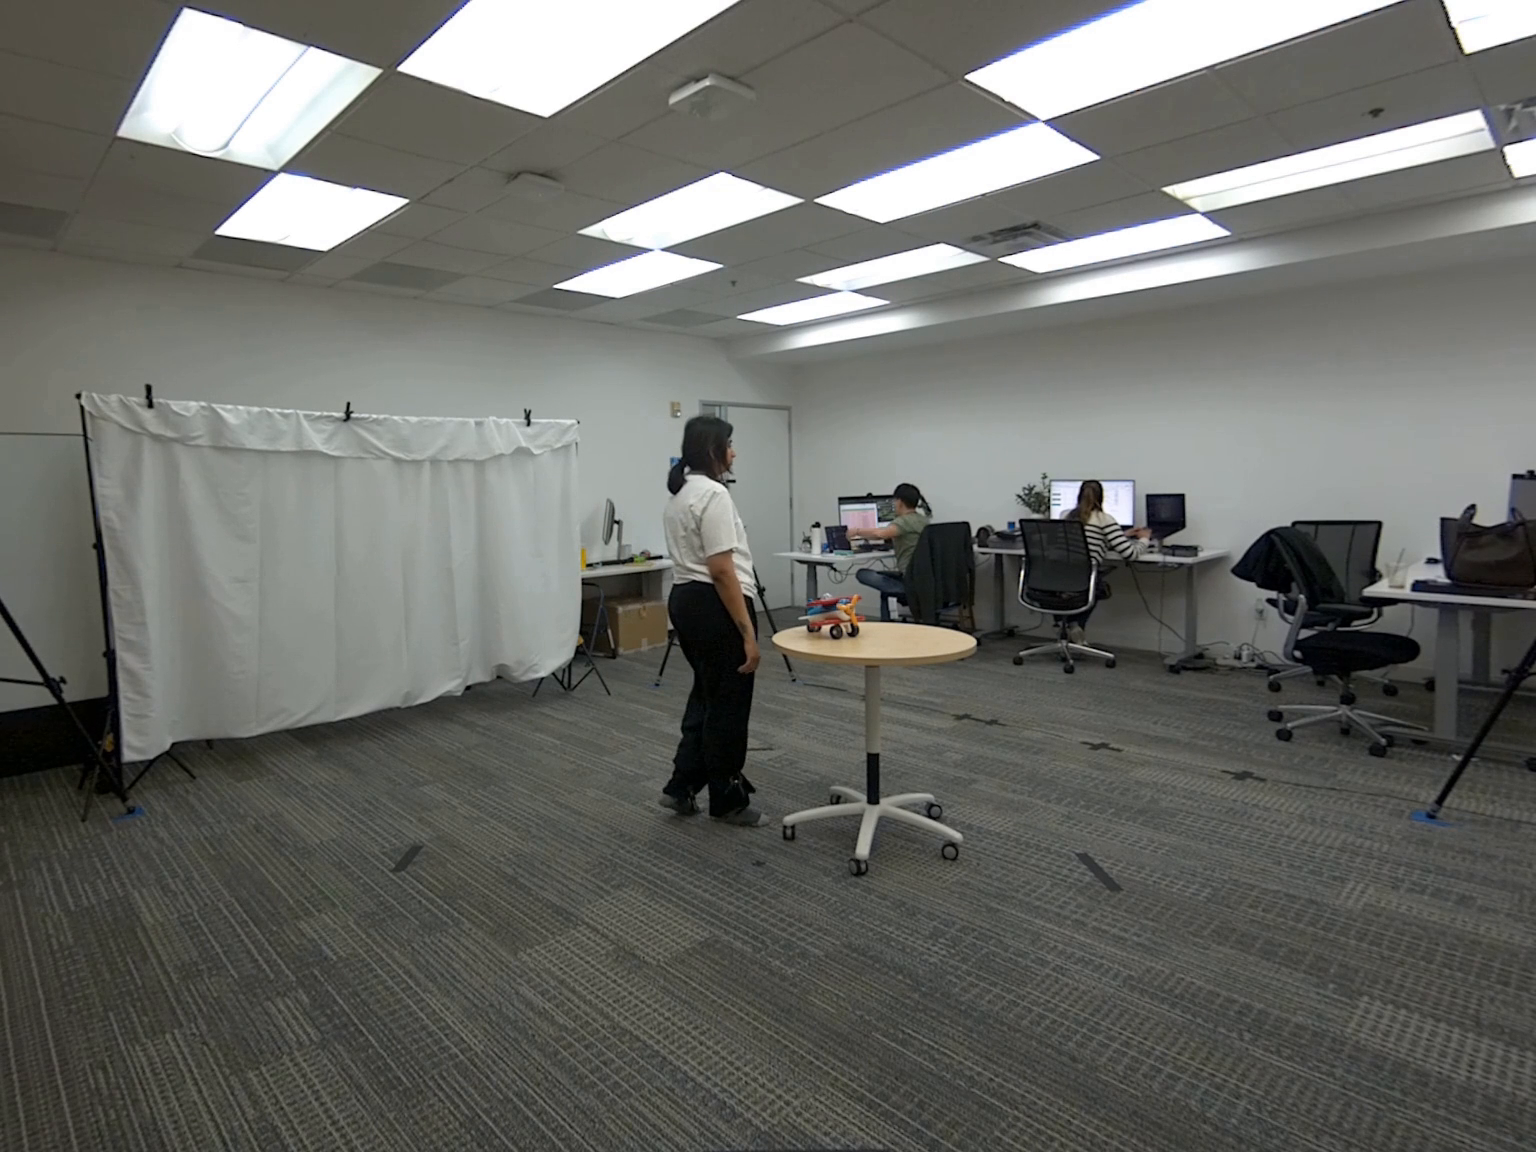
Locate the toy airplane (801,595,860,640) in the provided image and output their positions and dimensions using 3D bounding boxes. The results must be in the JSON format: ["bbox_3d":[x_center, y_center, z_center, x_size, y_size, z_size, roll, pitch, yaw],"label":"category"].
[{"bbox_3d":[0.226,0.154,3.334,0.265,0.156,0.246,2,7,26],"label":"toy airplane"}]
